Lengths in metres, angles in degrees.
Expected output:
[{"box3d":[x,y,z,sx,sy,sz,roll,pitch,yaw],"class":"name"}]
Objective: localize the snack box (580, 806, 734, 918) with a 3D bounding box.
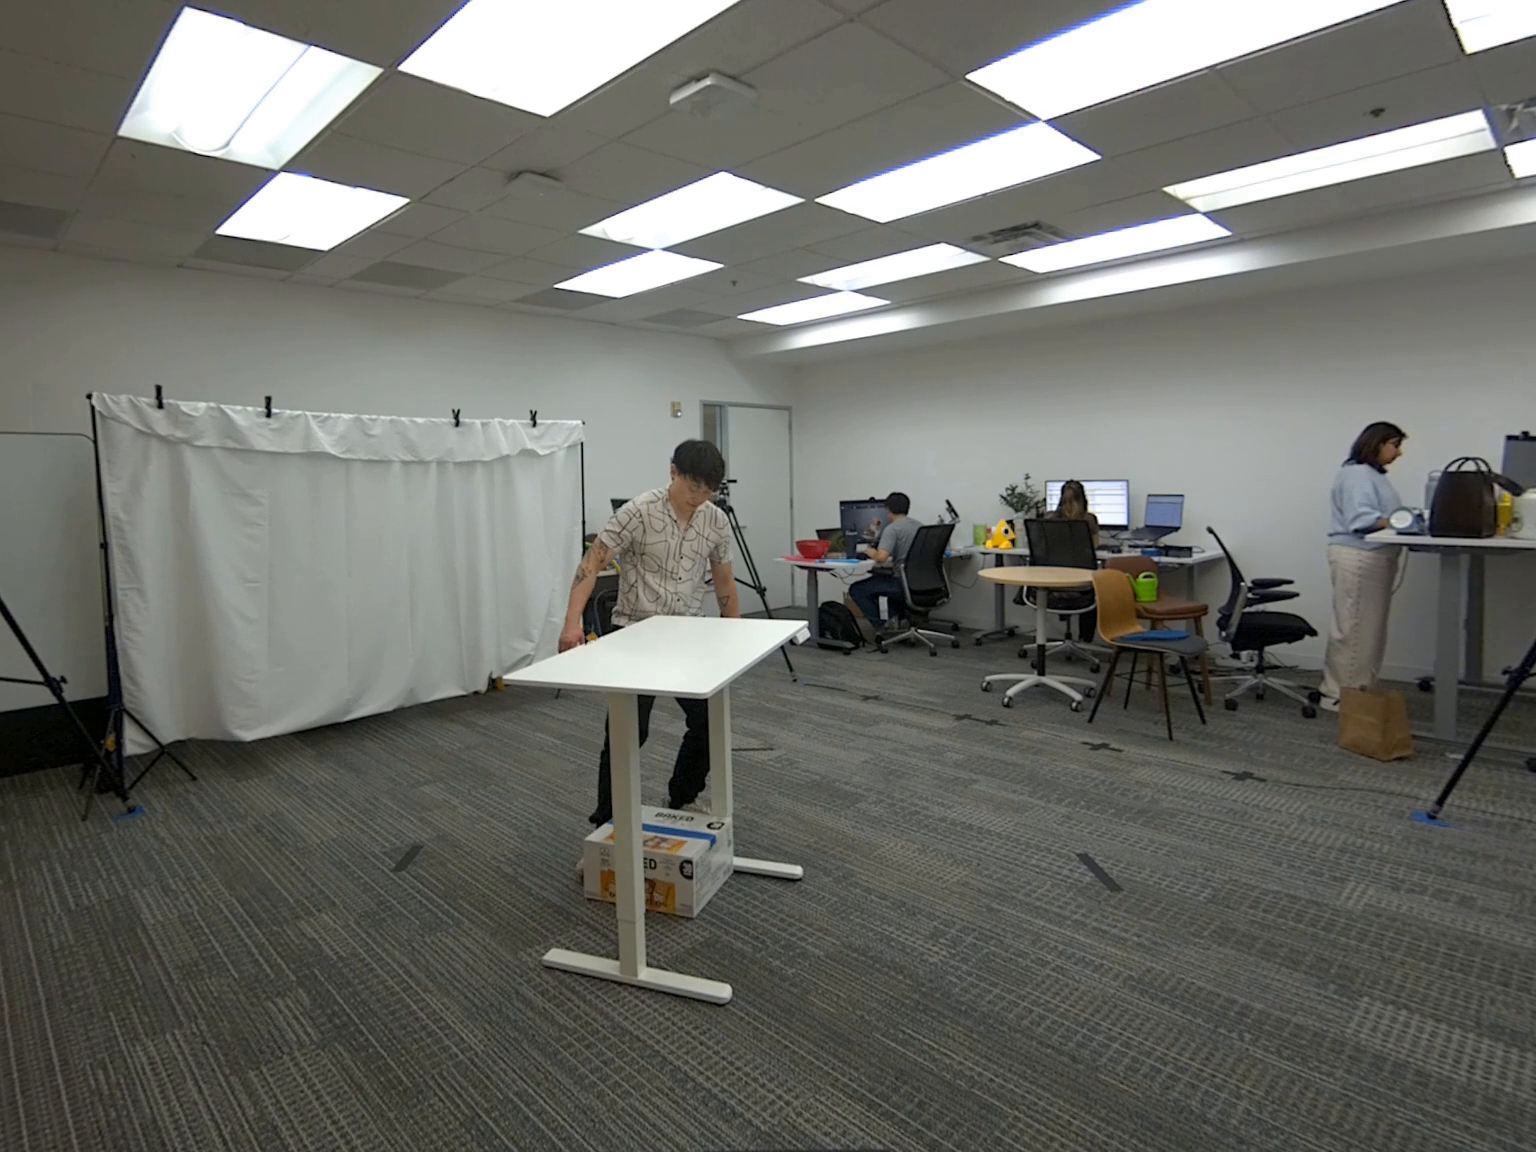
[{"box3d":[-0.362,0.970,2.941,0.413,0.205,0.335,1,7,20],"class":"snack box"}]
